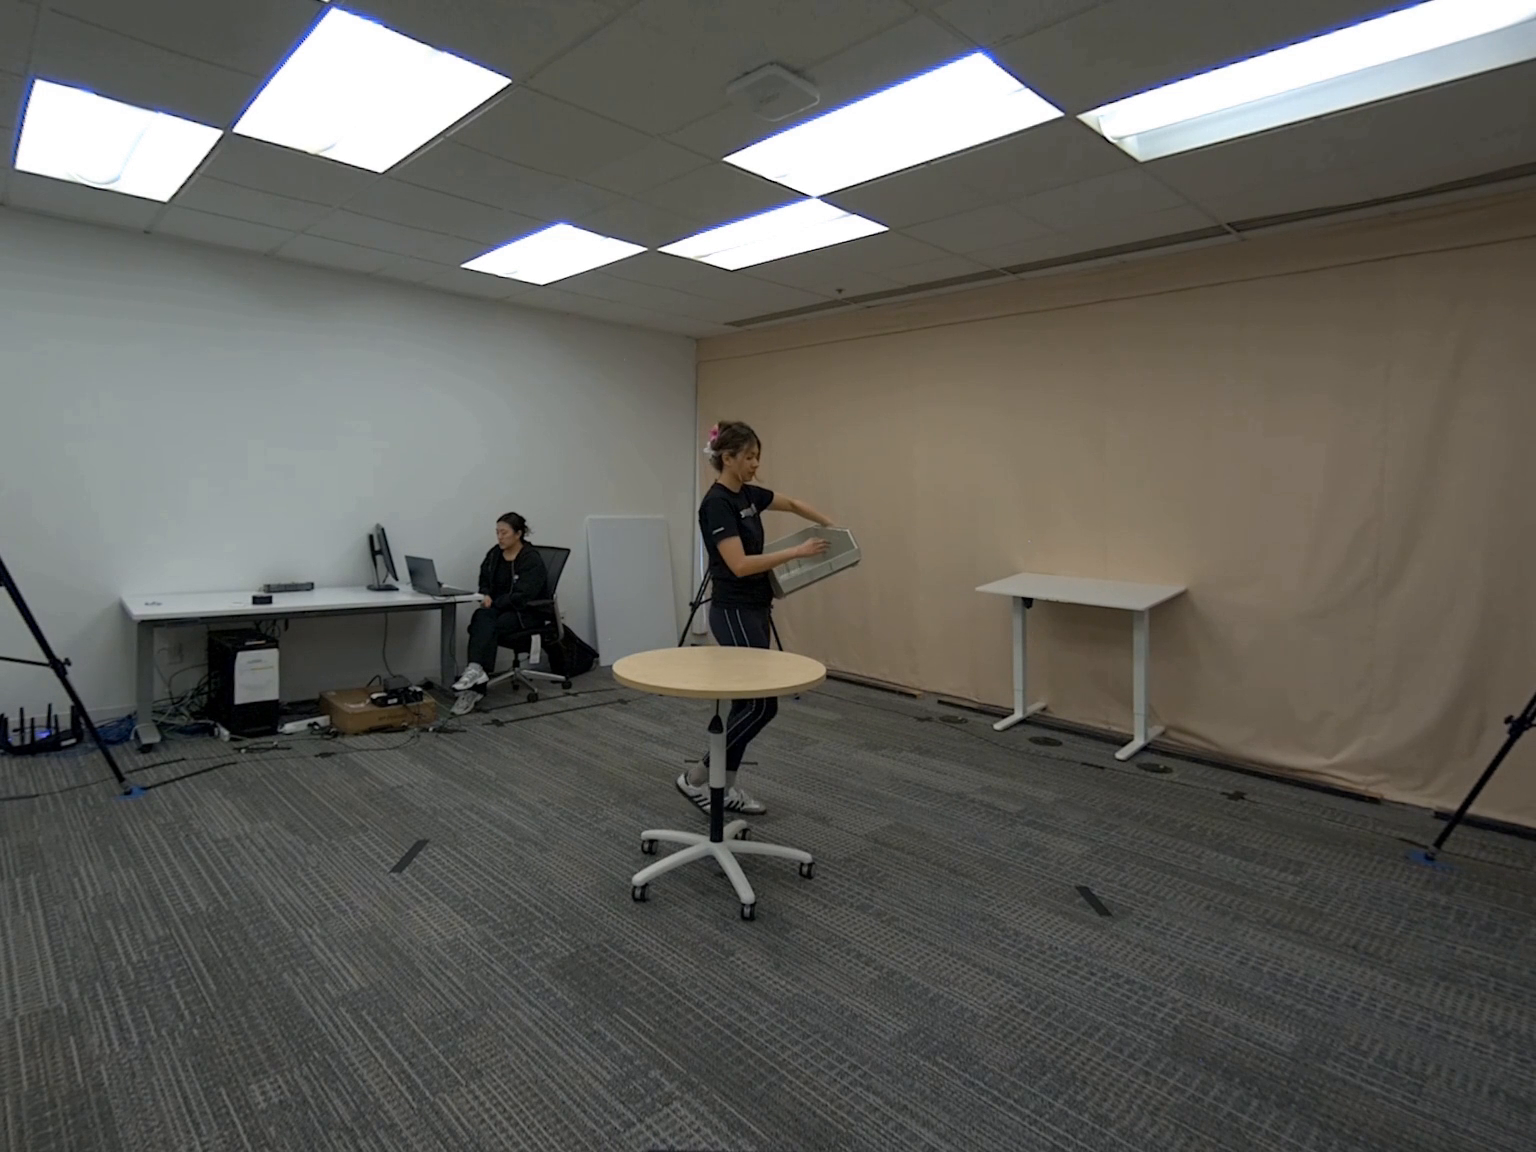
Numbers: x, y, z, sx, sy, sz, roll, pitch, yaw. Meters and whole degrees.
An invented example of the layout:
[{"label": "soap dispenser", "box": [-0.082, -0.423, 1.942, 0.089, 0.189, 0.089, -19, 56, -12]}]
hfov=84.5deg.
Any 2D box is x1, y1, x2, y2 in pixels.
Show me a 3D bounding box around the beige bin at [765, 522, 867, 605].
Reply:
[{"label": "beige bin", "box": [0.144, -0.069, 3.813, 0.419, 0.187, 0.385, -25, 14, -19]}]
